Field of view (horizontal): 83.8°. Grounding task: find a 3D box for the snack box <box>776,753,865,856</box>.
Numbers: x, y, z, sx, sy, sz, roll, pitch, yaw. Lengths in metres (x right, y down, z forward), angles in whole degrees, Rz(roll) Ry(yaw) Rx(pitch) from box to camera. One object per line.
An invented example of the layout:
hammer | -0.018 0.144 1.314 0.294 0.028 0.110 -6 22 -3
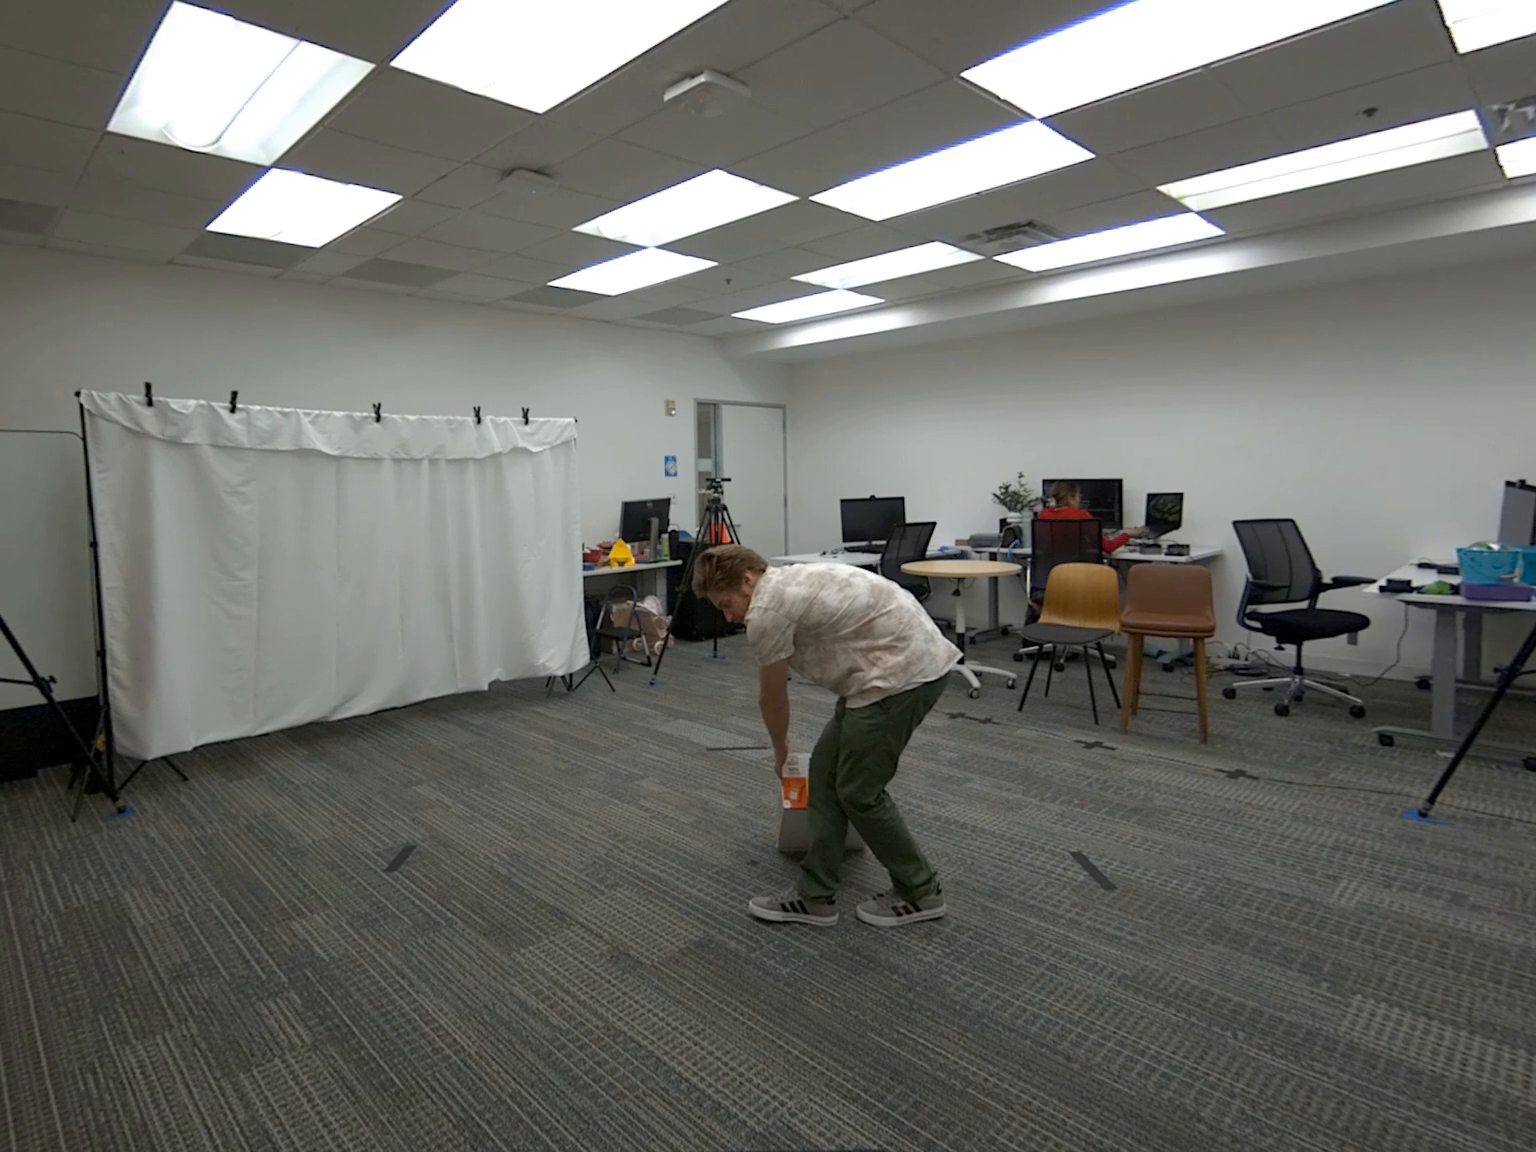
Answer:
snack box | 0.212 0.829 3.112 0.340 0.211 0.395 1 -38 -1
